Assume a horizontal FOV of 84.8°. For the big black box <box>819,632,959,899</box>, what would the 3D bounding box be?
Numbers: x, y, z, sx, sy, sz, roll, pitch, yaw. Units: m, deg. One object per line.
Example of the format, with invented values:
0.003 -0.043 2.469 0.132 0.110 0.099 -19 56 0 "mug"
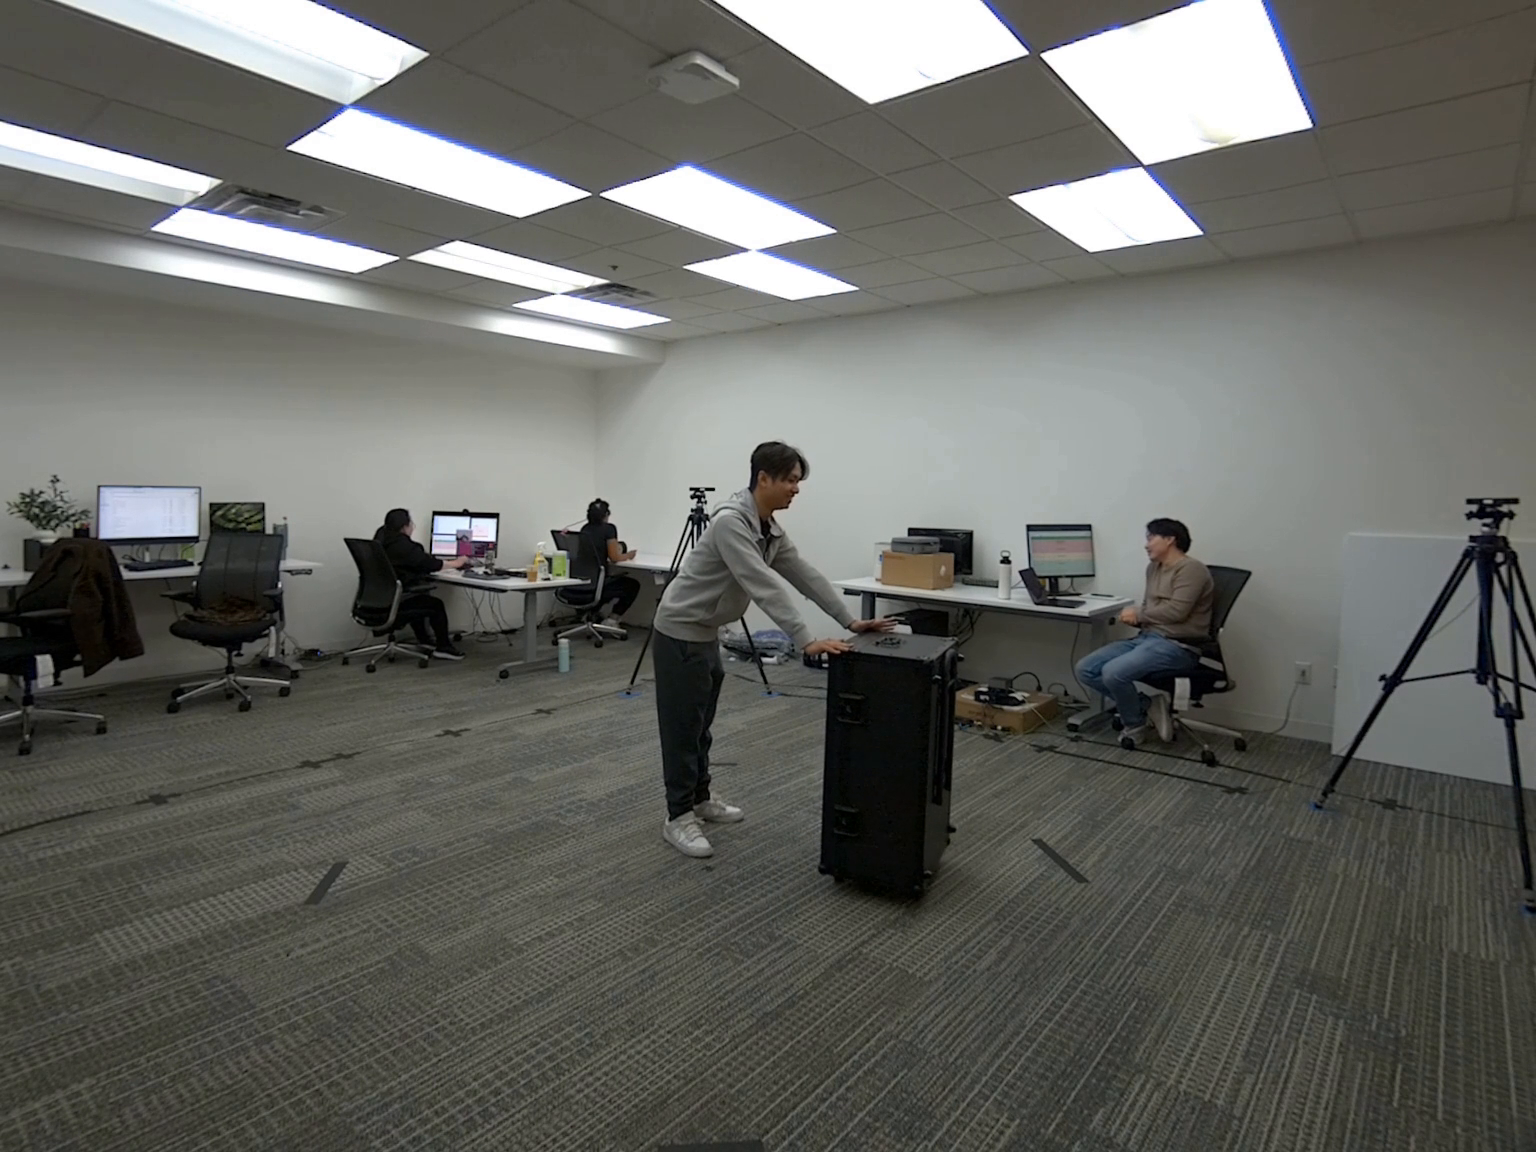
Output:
0.447 0.661 3.055 0.406 0.859 0.510 3 4 24 "big black box"
